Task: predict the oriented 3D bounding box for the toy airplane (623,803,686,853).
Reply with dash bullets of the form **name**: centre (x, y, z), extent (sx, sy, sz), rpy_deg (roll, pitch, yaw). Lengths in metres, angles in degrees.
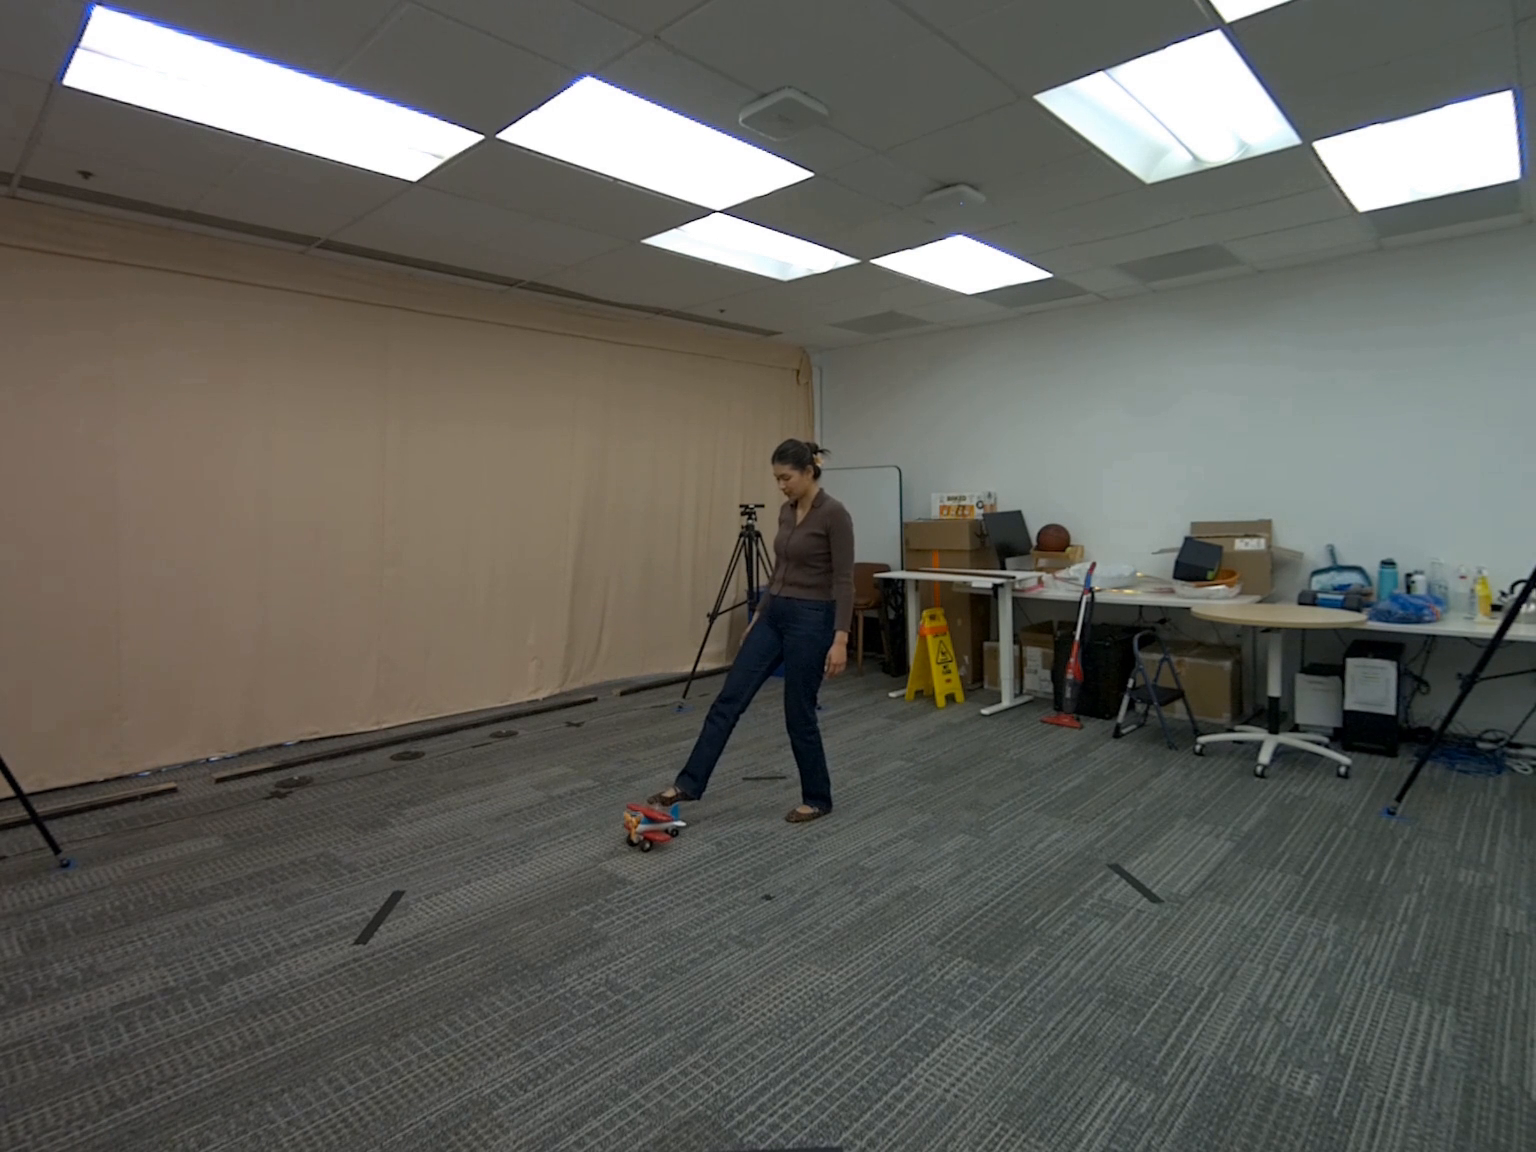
- **toy airplane**: centre (-0.482, 1.030, 3.506), extent (0.256, 0.156, 0.255), rpy_deg (0, 5, 16)
